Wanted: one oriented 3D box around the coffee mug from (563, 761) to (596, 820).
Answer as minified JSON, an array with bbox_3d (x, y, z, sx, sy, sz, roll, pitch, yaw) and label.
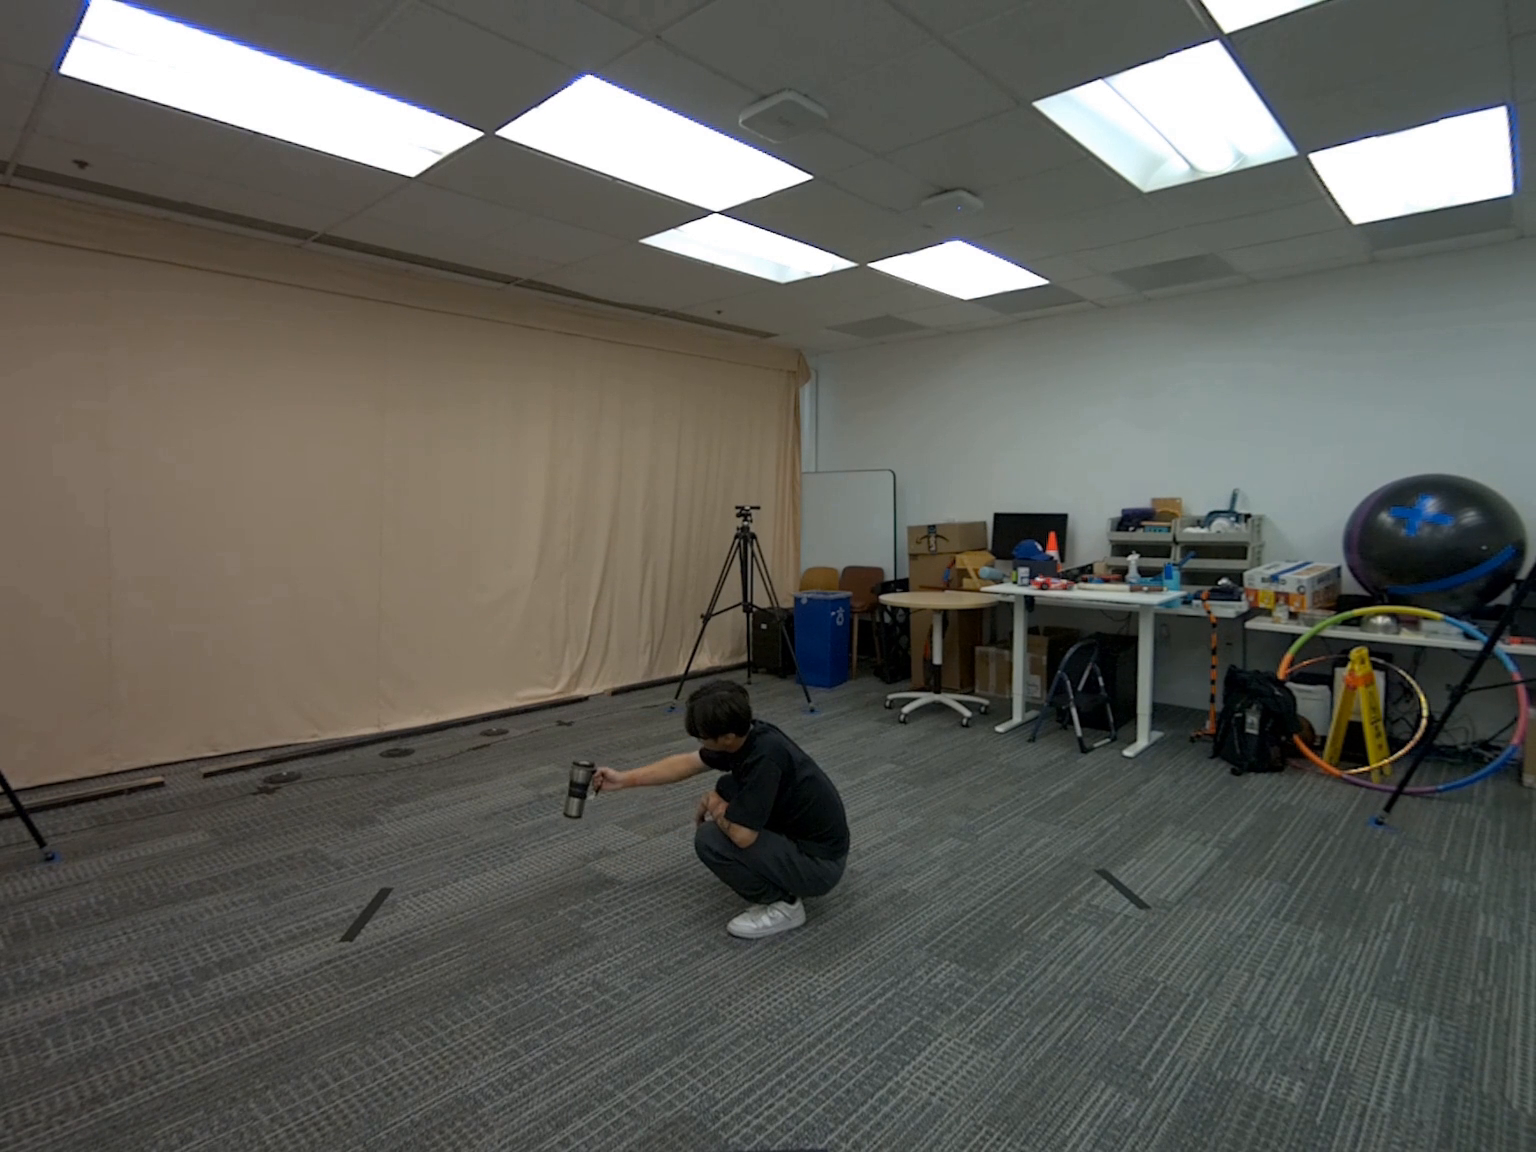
[{"bbox_3d":[-0.687,0.789,3.105,0.126,0.204,0.085,2,-11,46],"label":"coffee mug"}]
